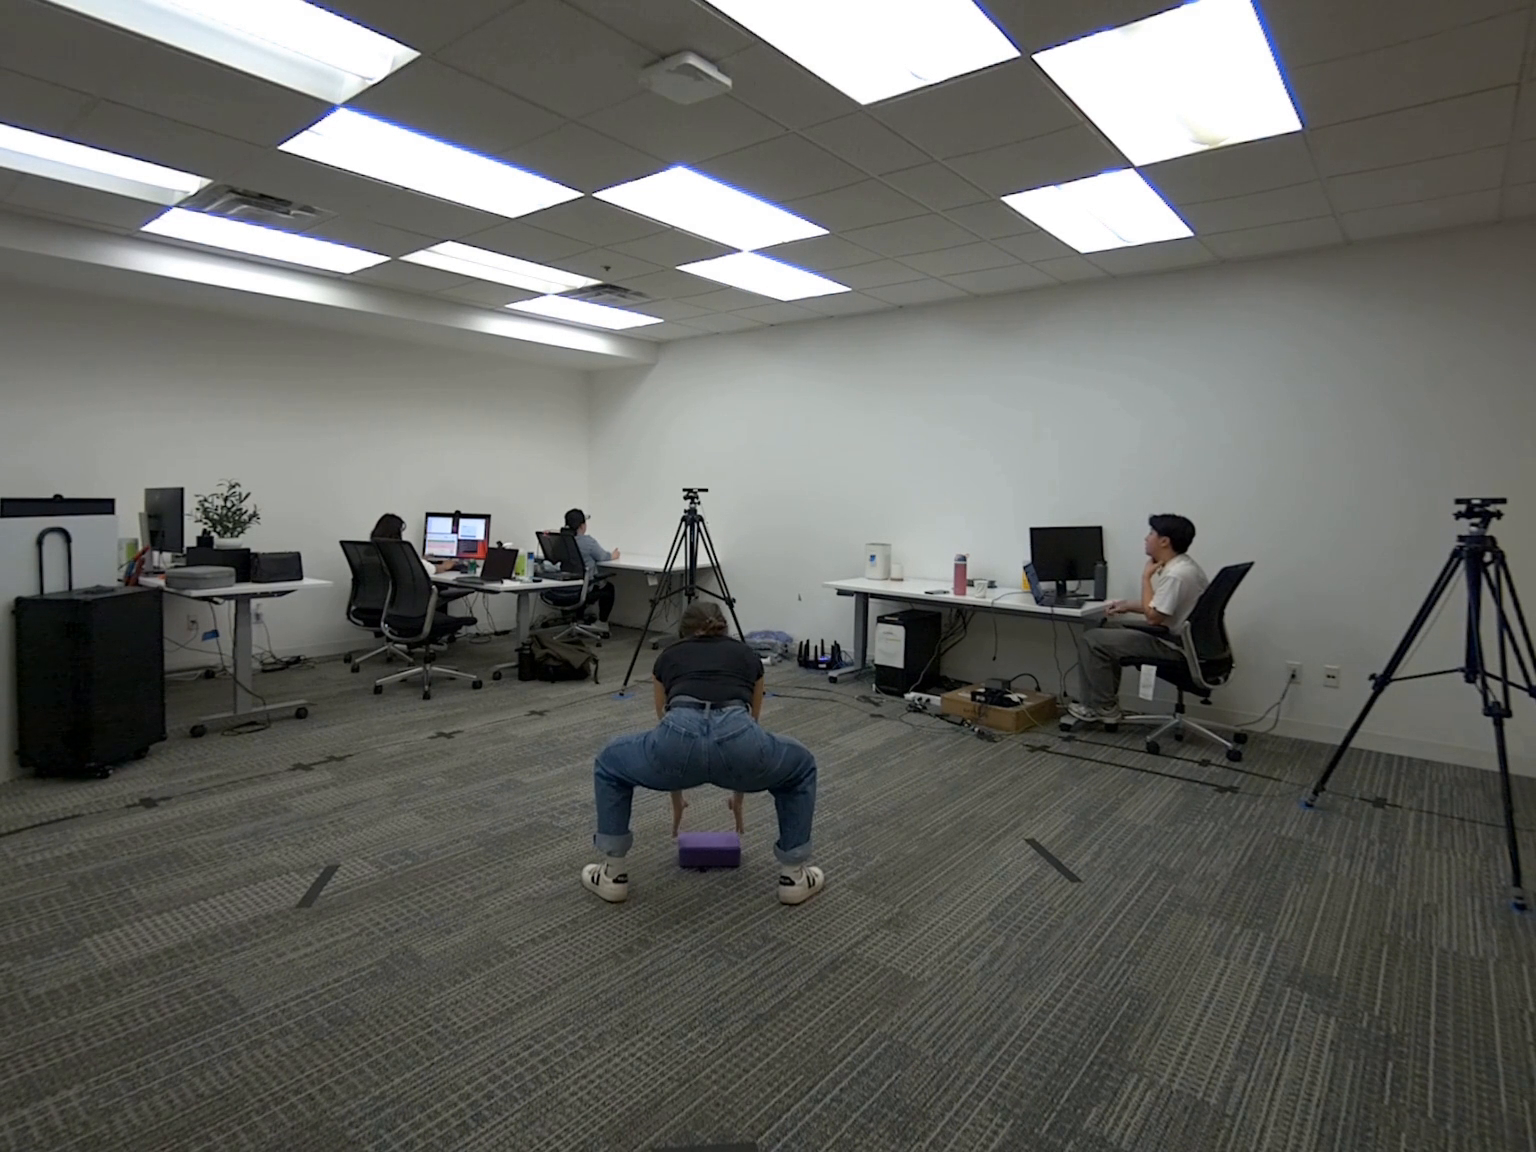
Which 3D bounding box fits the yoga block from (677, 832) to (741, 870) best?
[{"bbox_3d":[-0.220,1.013,3.190,0.229,0.076,0.150,0,4,-3],"label":"yoga block"}]
